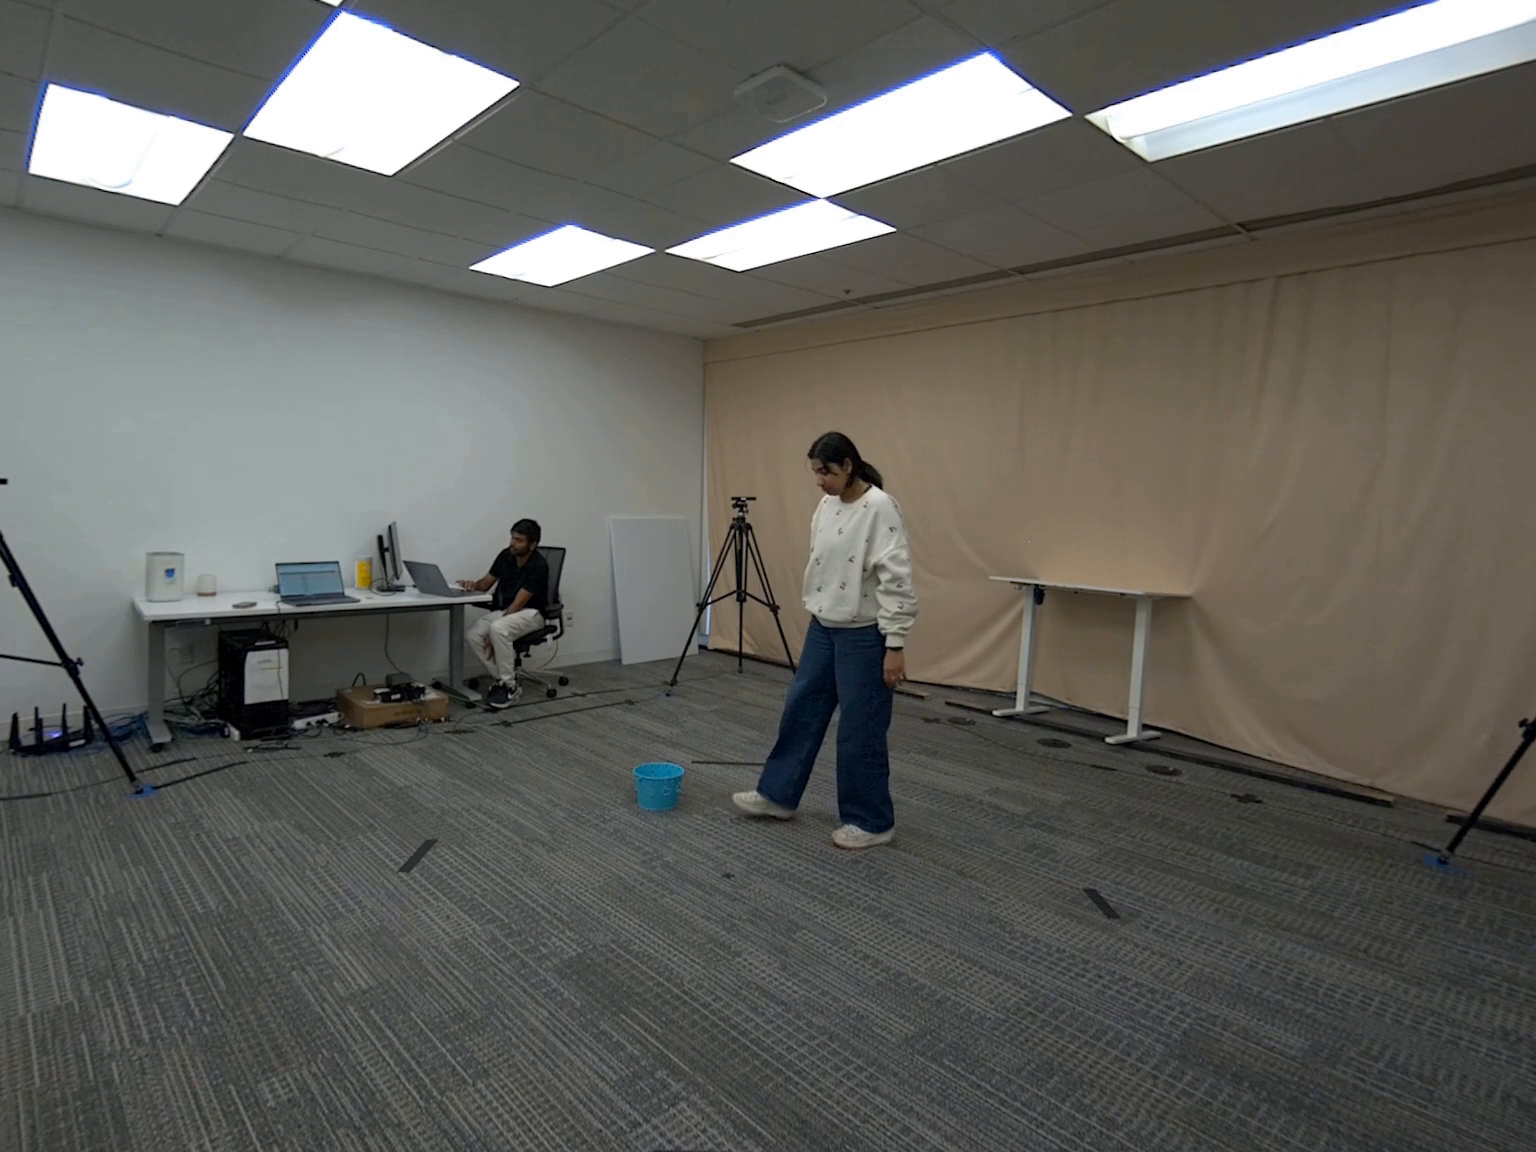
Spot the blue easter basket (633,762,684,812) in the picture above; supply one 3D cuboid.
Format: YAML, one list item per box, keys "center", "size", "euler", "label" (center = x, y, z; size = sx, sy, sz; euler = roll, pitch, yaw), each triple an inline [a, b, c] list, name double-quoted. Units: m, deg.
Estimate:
- center: [-0.508, 0.948, 3.834]
  size: [0.243, 0.155, 0.244]
  euler: [2, 5, -2]
  label: "blue easter basket"
